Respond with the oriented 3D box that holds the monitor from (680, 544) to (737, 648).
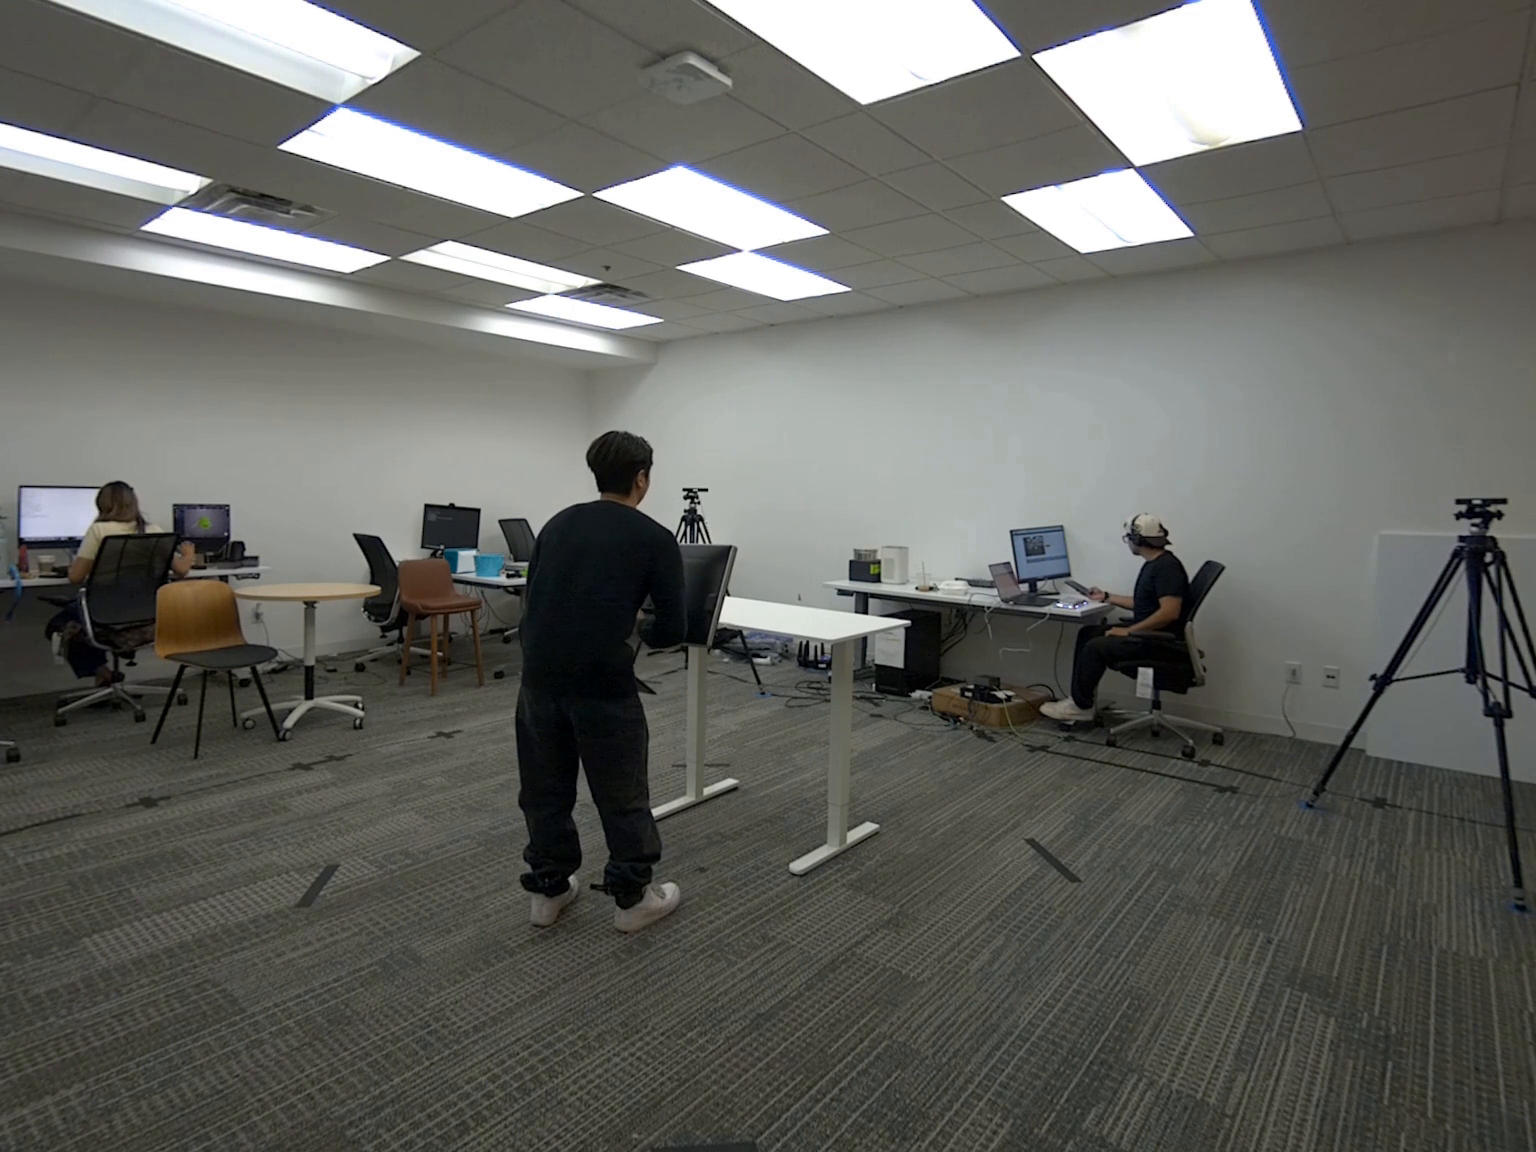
[{"bbox_3d":[-0.426,0.107,2.965,0.546,0.521,0.168,0,-39,38],"label":"monitor"}]
